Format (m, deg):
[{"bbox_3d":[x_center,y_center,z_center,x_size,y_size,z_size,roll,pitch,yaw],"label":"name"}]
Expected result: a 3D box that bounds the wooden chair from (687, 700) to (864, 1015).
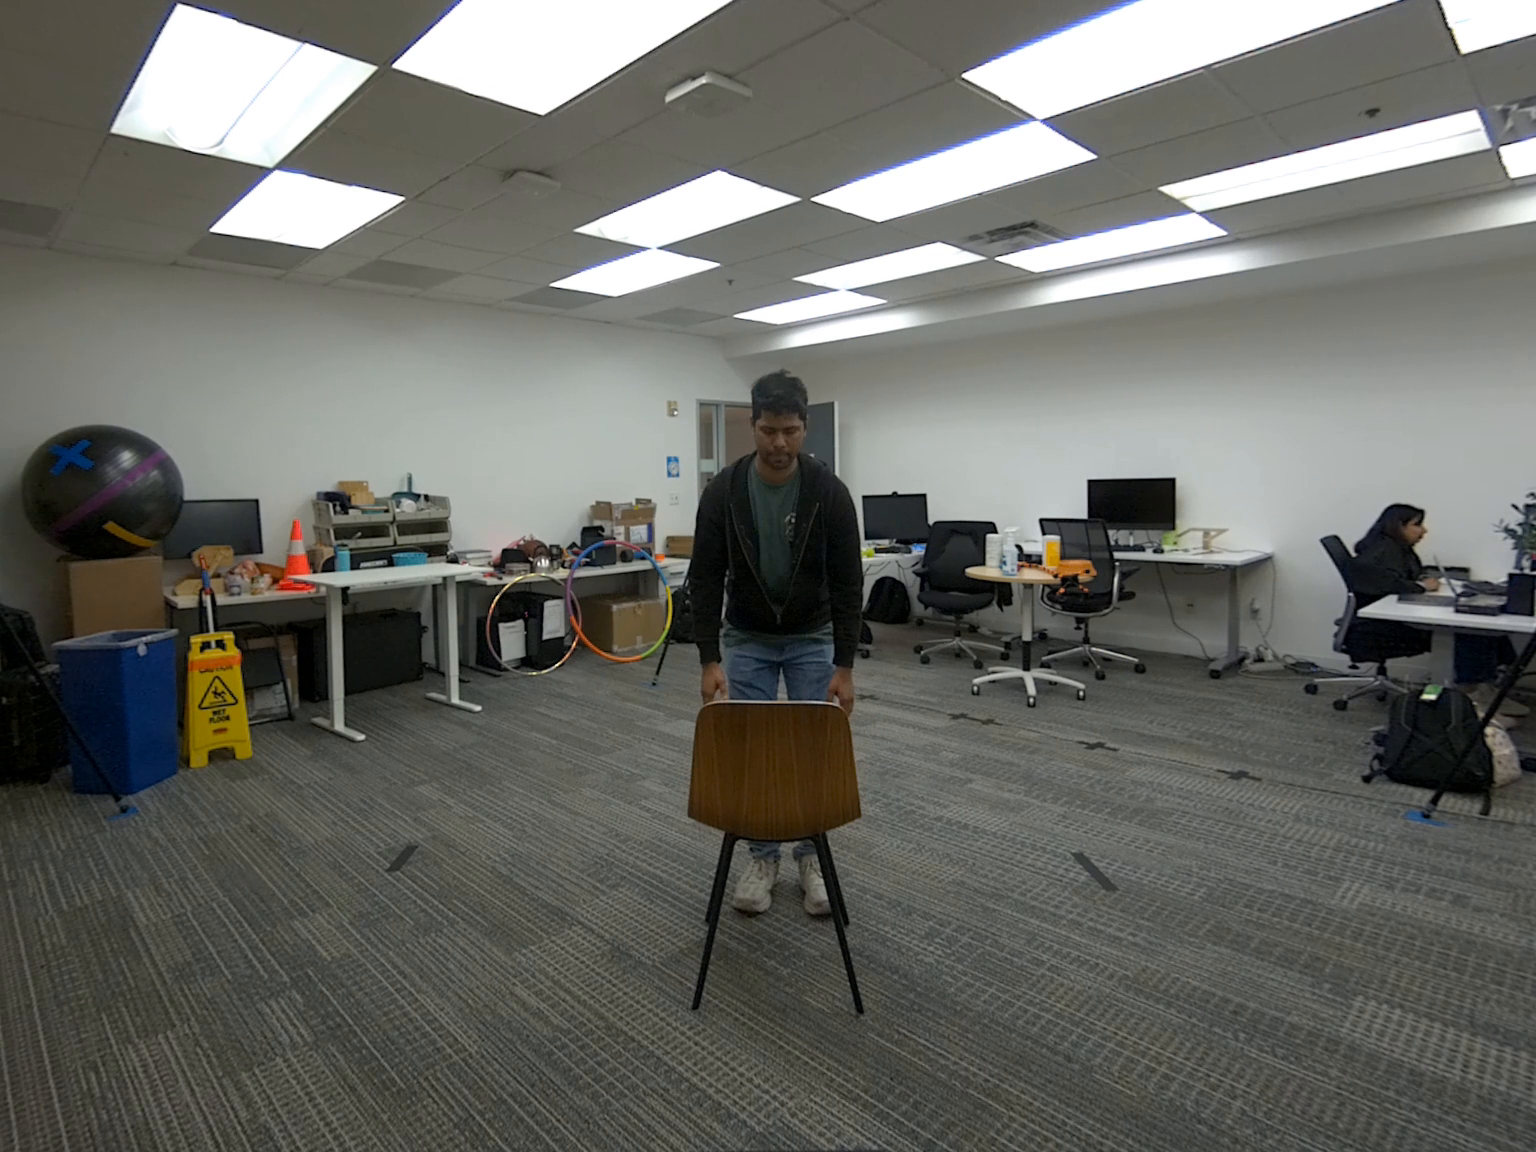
[{"bbox_3d":[0.017,0.695,2.437,0.479,0.870,0.526,-2,9,2],"label":"wooden chair"}]
